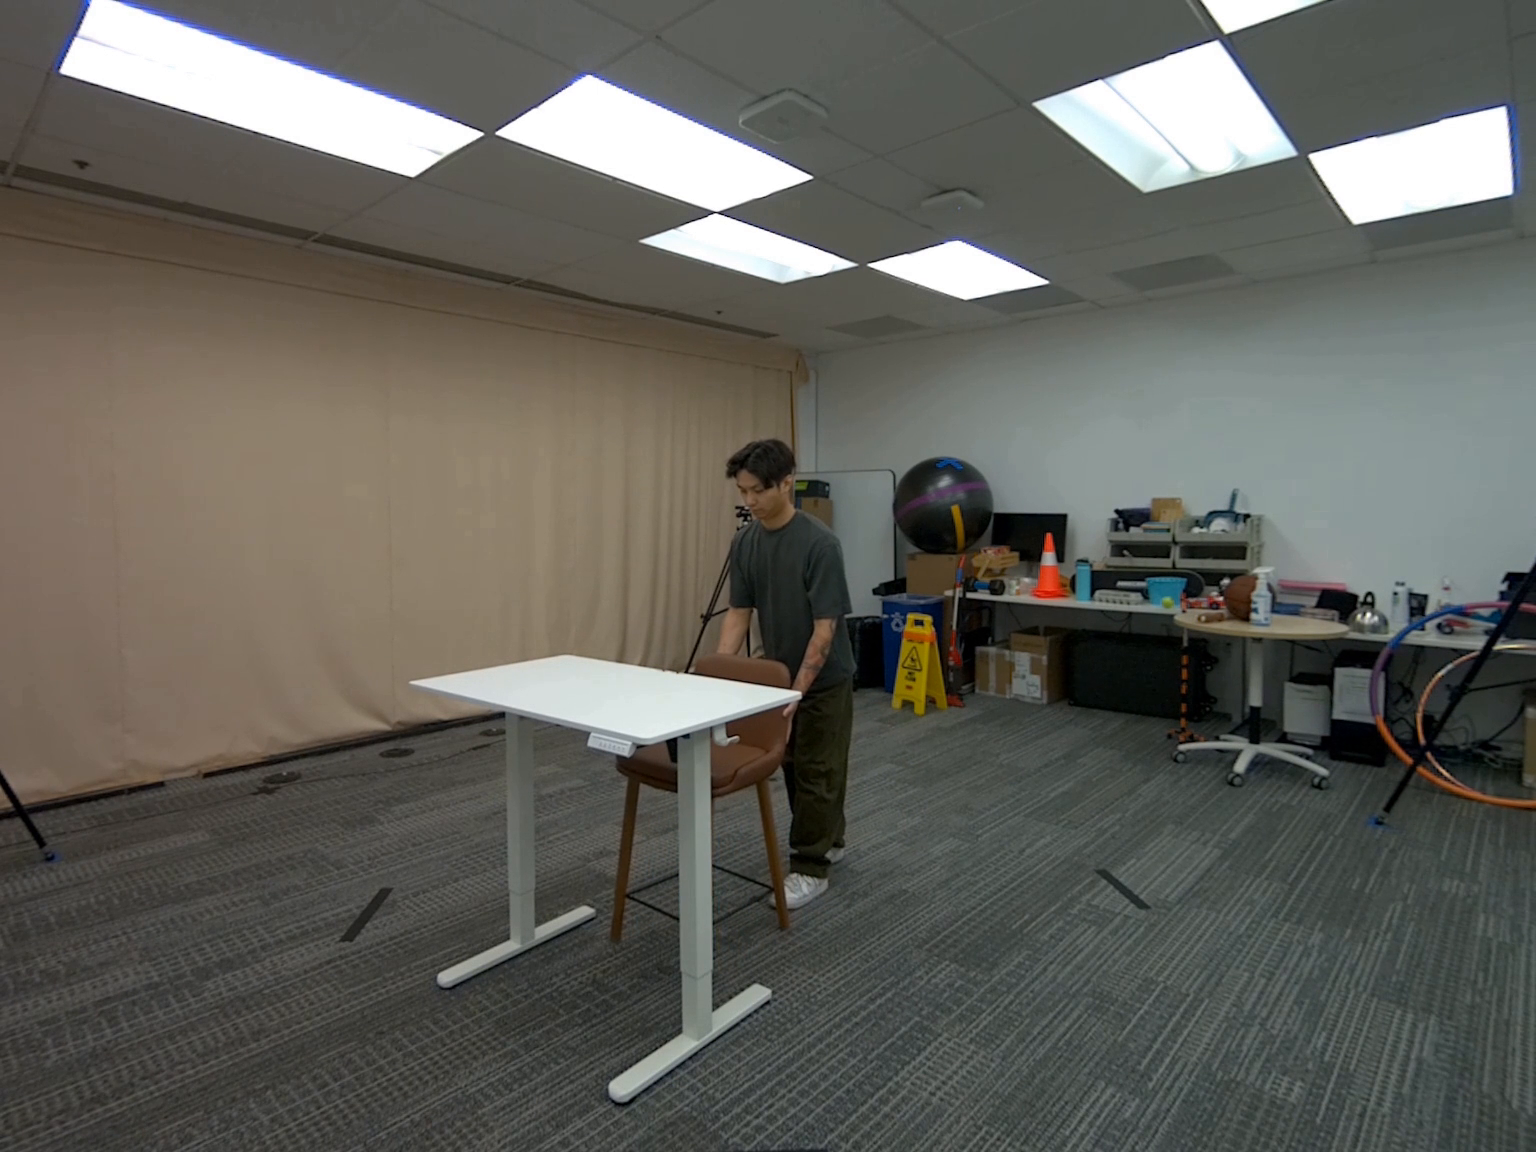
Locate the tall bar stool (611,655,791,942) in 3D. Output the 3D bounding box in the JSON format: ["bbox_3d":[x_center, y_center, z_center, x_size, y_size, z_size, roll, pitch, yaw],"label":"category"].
[{"bbox_3d":[-0.205,0.725,2.722,0.471,0.889,0.453,2,1,41],"label":"tall bar stool"}]
